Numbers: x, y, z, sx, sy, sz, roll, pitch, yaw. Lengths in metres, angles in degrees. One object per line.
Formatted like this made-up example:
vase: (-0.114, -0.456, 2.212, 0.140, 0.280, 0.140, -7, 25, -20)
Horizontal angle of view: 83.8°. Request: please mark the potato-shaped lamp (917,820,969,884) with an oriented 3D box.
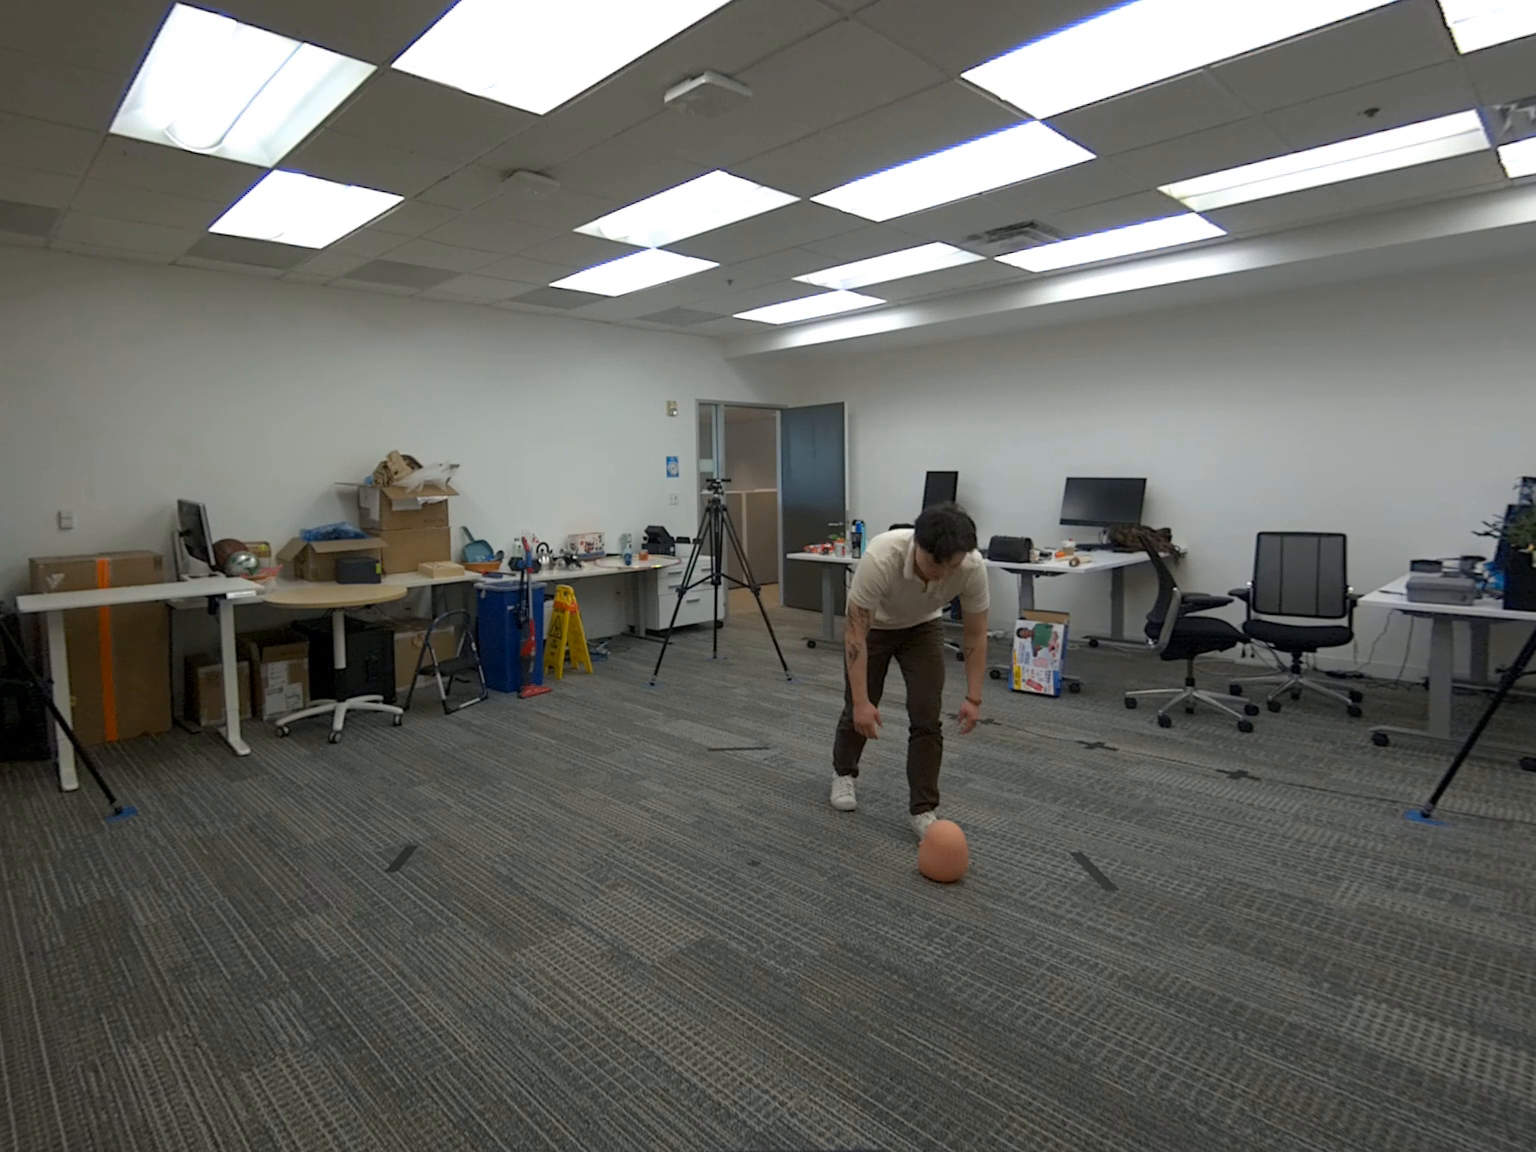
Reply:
potato-shaped lamp: (0.607, 0.951, 2.974, 0.161, 0.197, 0.175, -1, 5, -23)
